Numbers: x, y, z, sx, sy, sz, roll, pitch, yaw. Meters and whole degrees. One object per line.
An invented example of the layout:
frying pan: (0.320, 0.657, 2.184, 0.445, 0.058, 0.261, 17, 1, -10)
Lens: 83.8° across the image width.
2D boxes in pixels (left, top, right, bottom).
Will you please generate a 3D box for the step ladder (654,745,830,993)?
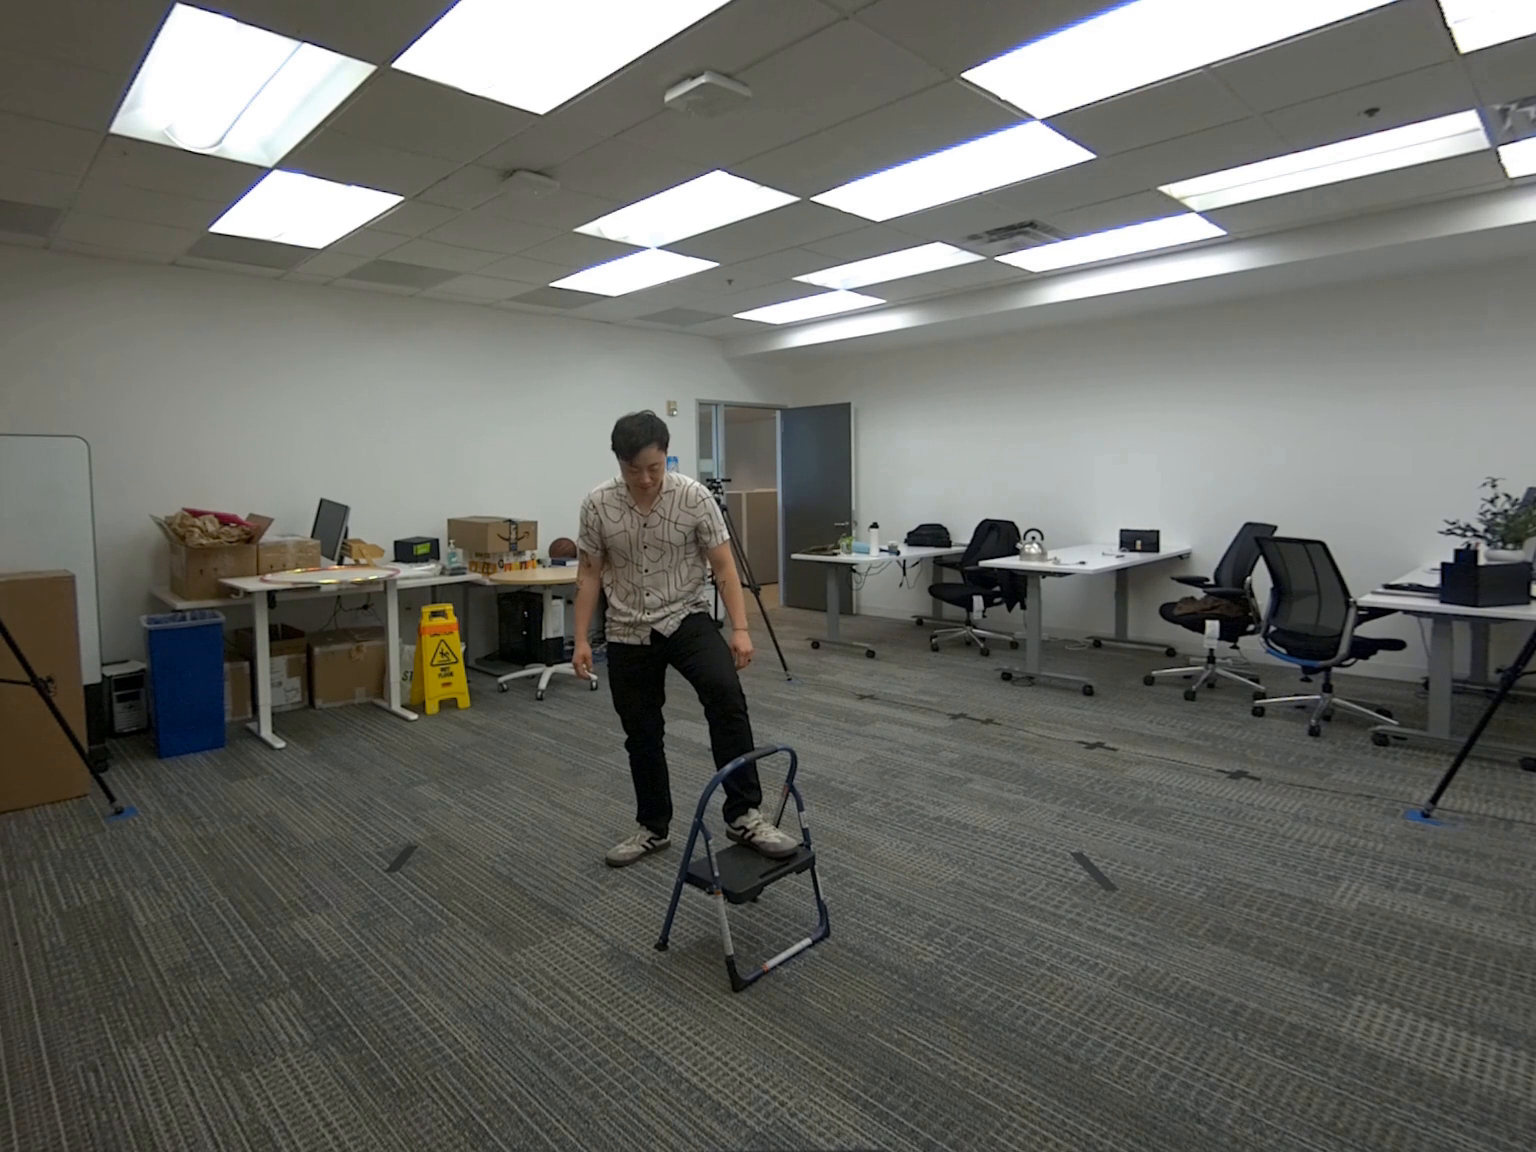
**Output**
step ladder: (-0.072, 0.805, 2.566, 0.360, 0.603, 0.419, 4, 7, 43)
